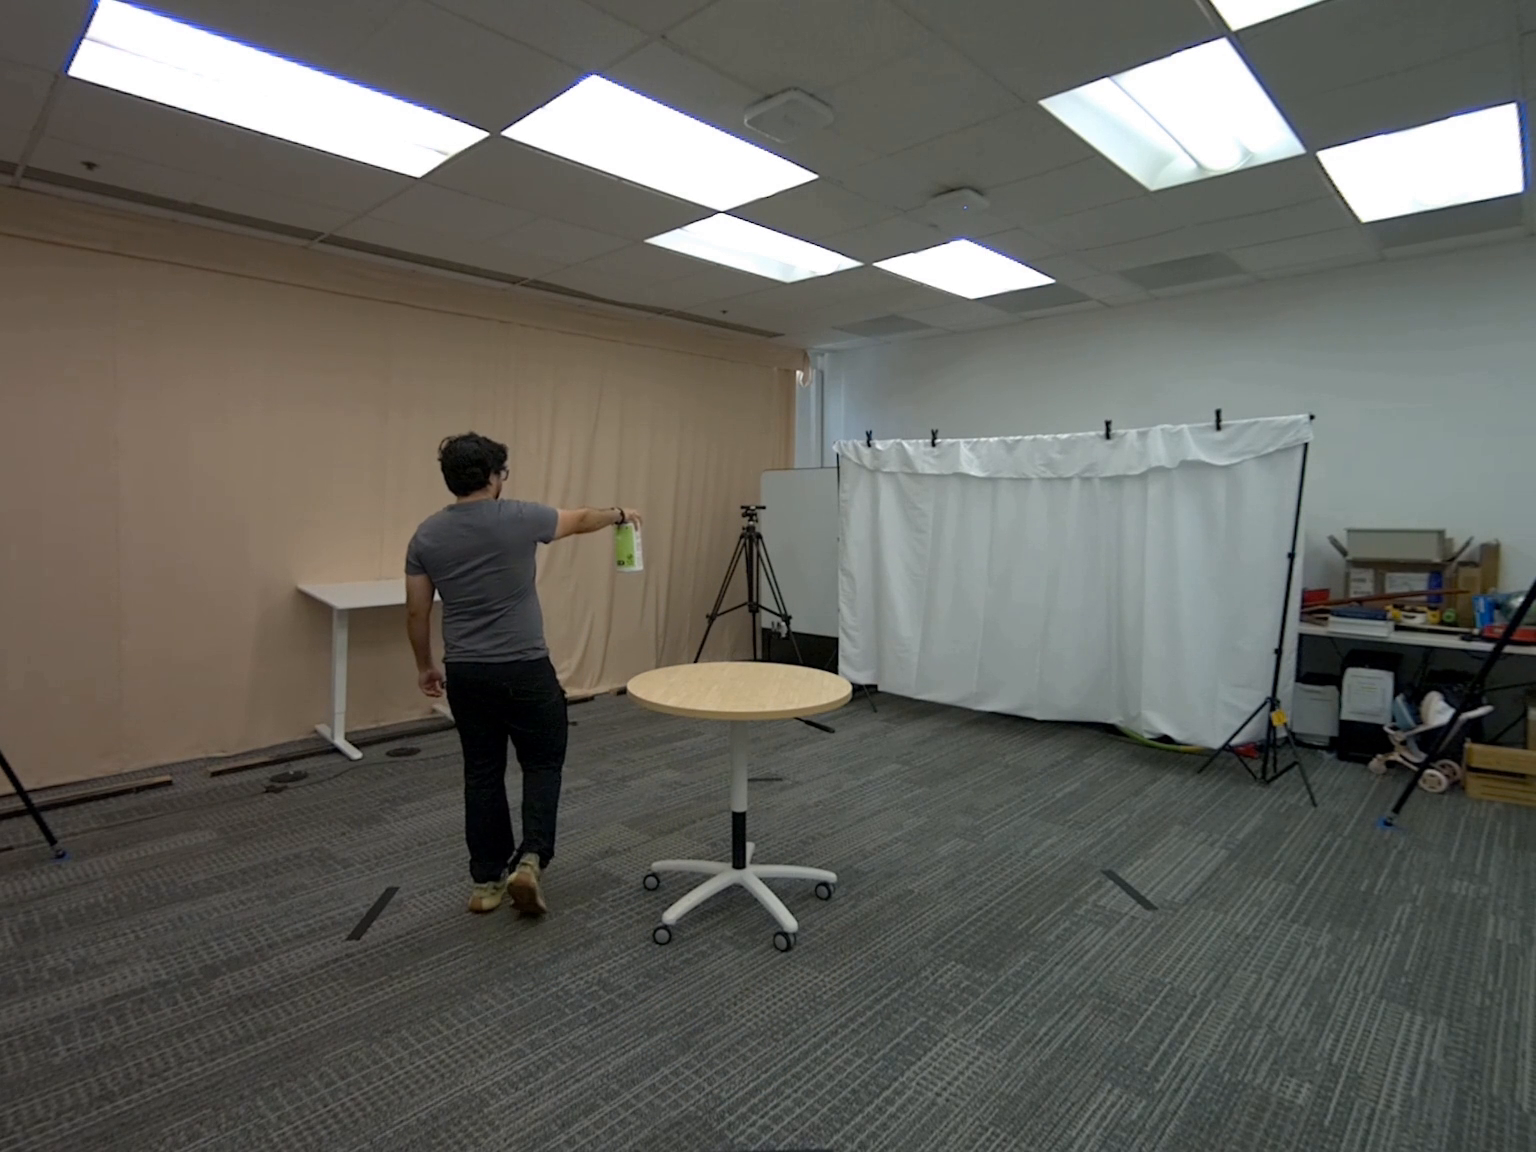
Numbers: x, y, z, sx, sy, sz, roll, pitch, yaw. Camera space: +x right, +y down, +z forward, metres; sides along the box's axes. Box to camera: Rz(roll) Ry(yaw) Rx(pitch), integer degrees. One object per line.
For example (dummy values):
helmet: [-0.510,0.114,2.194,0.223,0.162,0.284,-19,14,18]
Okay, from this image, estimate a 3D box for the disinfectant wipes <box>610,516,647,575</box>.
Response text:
disinfectant wipes: [-0.567,-0.126,3.426,0.118,0.217,0.118,-5,4,-2]
